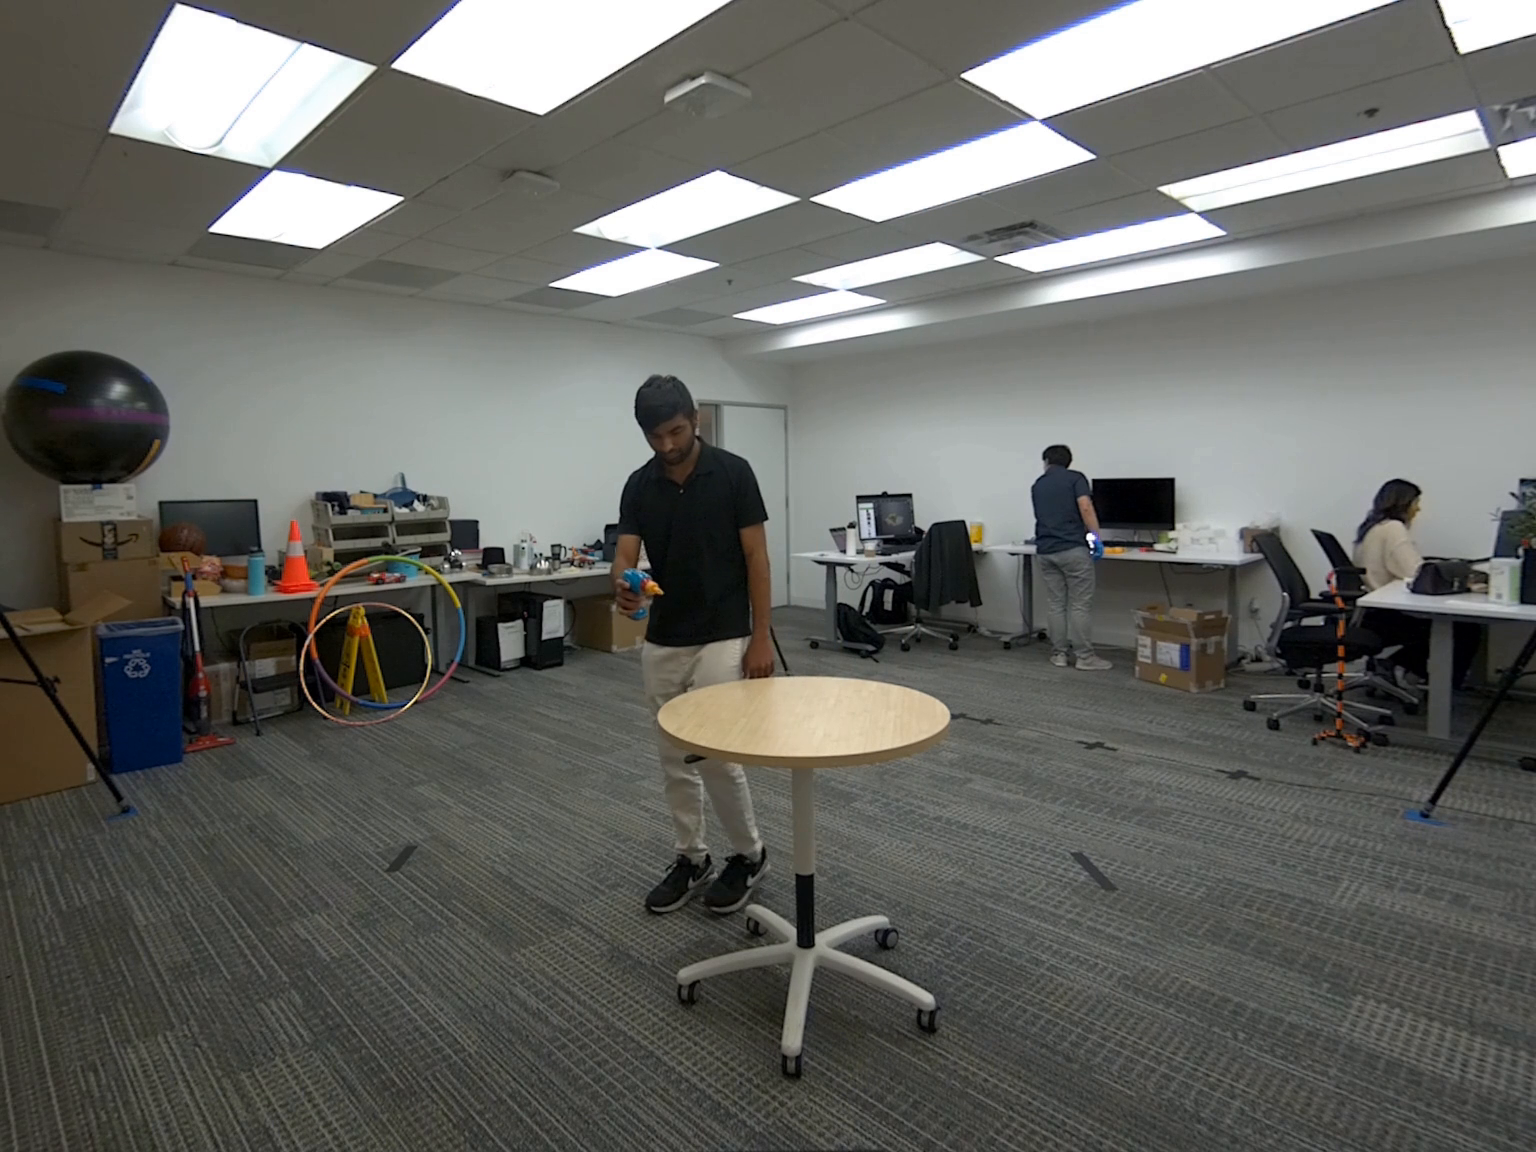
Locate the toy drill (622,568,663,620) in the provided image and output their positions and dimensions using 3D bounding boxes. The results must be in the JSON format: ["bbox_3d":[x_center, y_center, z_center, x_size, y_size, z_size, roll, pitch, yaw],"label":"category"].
[{"bbox_3d":[-0.353,0.062,2.375,0.060,0.143,0.176,-20,30,-37],"label":"toy drill"}]
